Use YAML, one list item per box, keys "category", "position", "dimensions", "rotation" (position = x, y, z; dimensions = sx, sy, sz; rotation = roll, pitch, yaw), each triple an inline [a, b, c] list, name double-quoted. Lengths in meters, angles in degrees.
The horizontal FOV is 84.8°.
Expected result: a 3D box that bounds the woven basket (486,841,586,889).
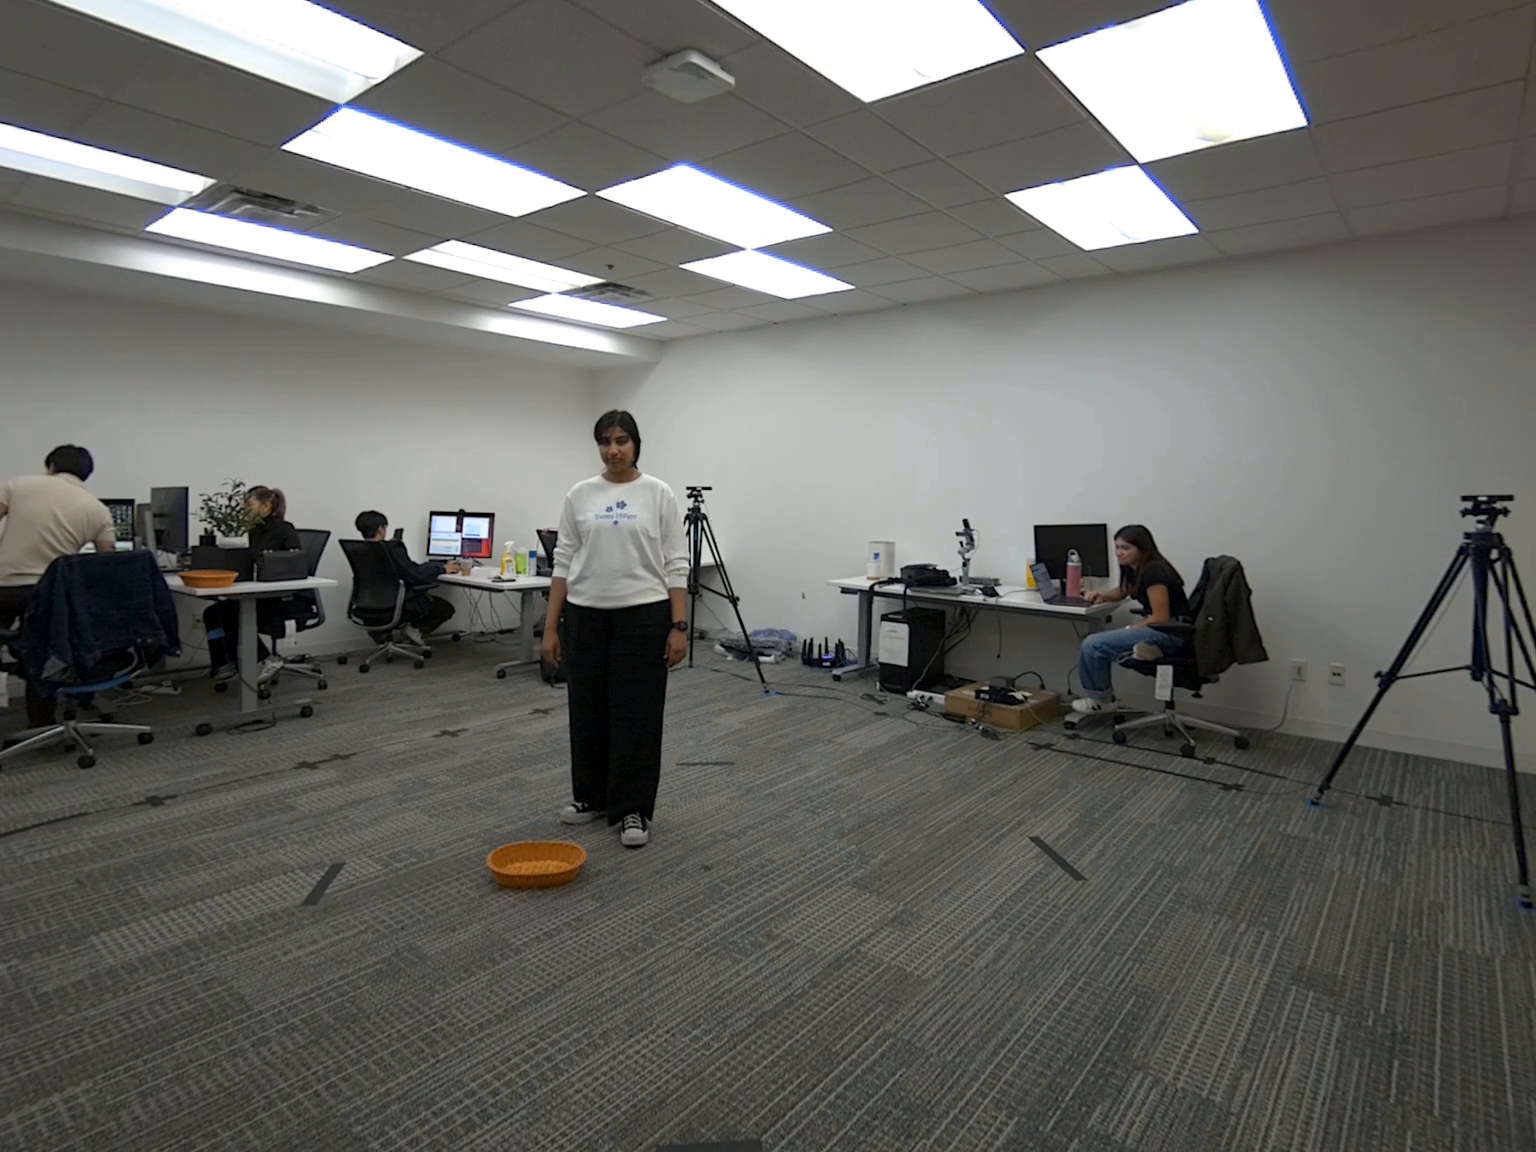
- category: "woven basket"
  position: [-0.826, 1.025, 3.024]
  dimensions: [0.349, 0.073, 0.255]
  rotation: [0, 7, -5]
